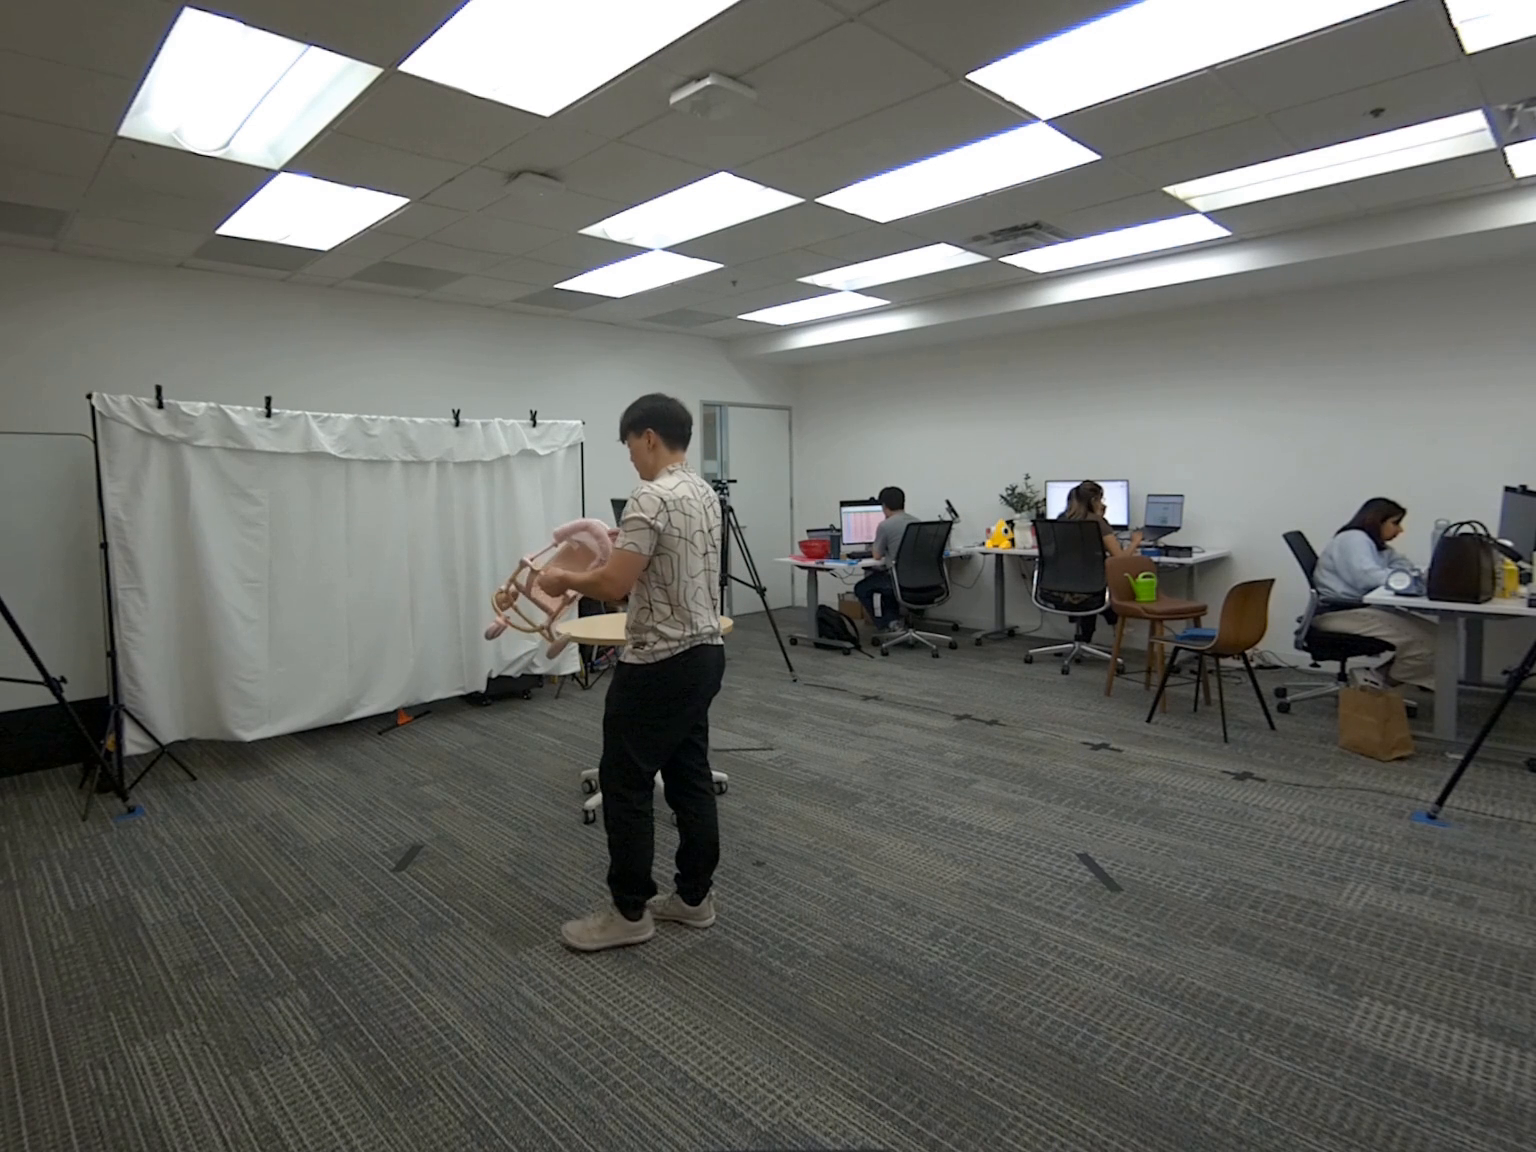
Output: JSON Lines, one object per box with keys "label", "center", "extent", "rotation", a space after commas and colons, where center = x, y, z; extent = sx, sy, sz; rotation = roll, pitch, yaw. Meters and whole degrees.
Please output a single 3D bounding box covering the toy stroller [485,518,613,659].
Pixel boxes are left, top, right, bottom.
{"label": "toy stroller", "center": [-0.701, 0.016, 2.814], "extent": [0.286, 0.535, 0.335], "rotation": [39, -11, 11]}
